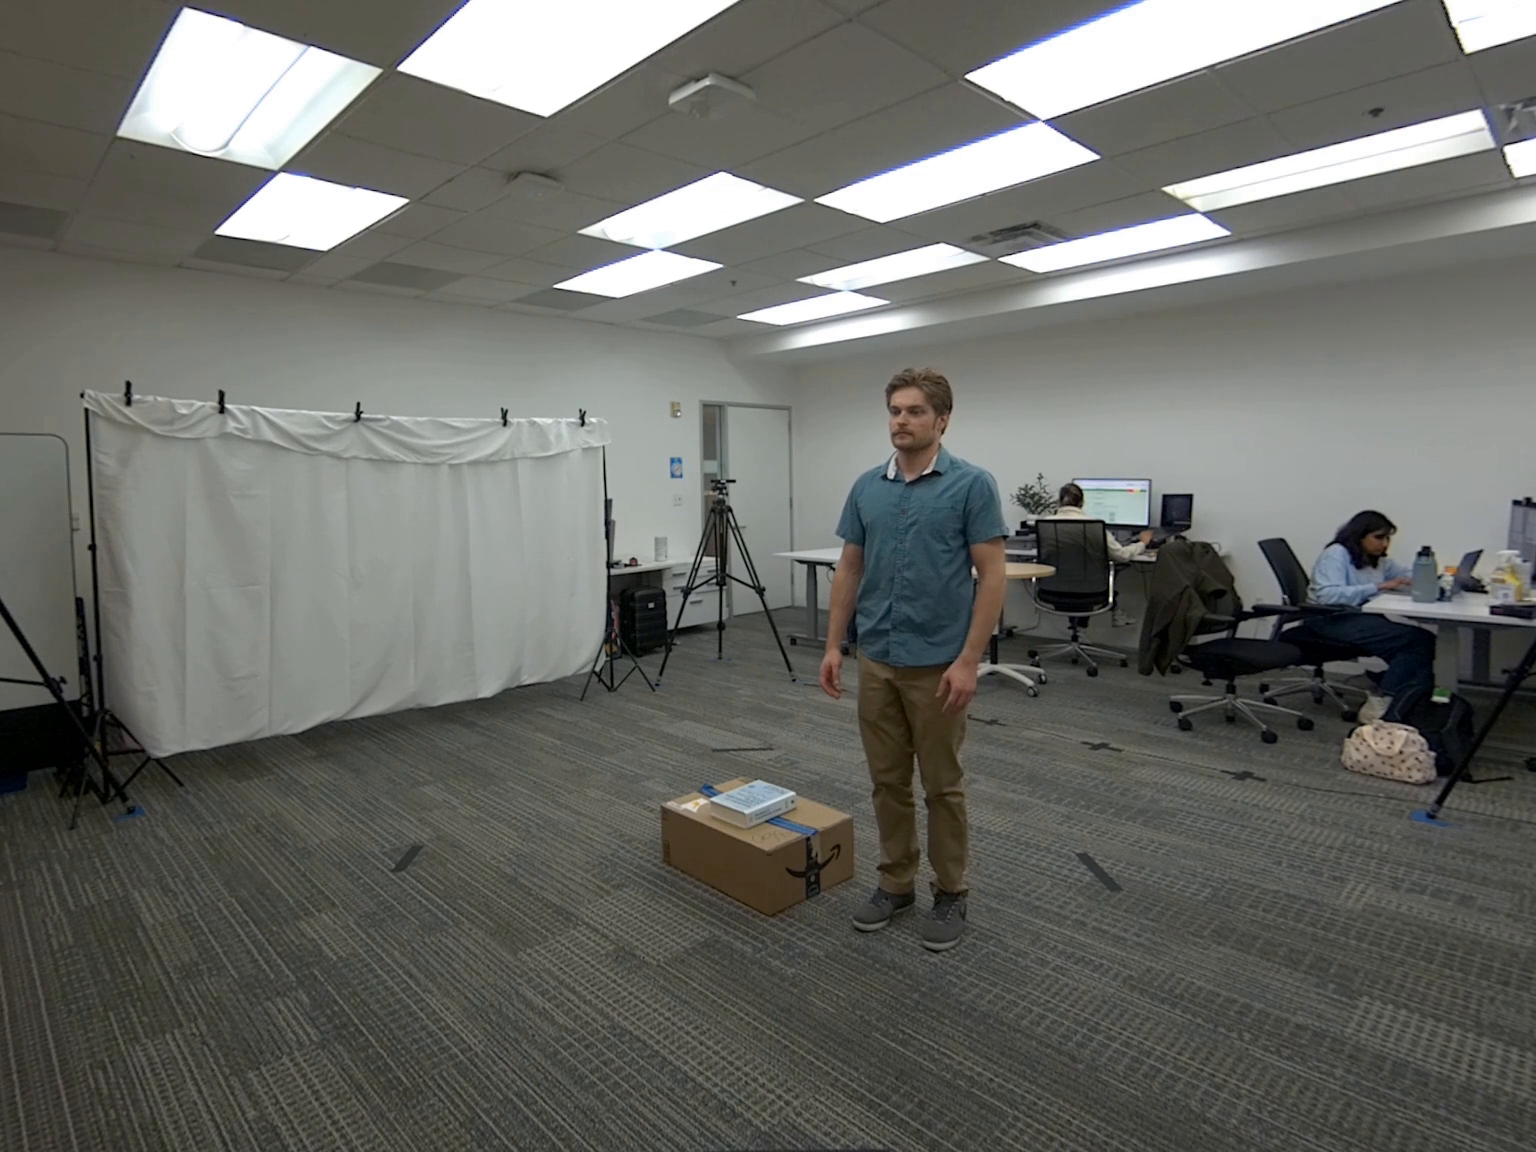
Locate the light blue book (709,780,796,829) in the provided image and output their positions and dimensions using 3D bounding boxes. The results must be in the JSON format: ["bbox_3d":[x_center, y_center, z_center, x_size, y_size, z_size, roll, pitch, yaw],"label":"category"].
[{"bbox_3d":[-0.050,0.809,3.058,0.197,0.059,0.254,5,9,44],"label":"light blue book"}]
